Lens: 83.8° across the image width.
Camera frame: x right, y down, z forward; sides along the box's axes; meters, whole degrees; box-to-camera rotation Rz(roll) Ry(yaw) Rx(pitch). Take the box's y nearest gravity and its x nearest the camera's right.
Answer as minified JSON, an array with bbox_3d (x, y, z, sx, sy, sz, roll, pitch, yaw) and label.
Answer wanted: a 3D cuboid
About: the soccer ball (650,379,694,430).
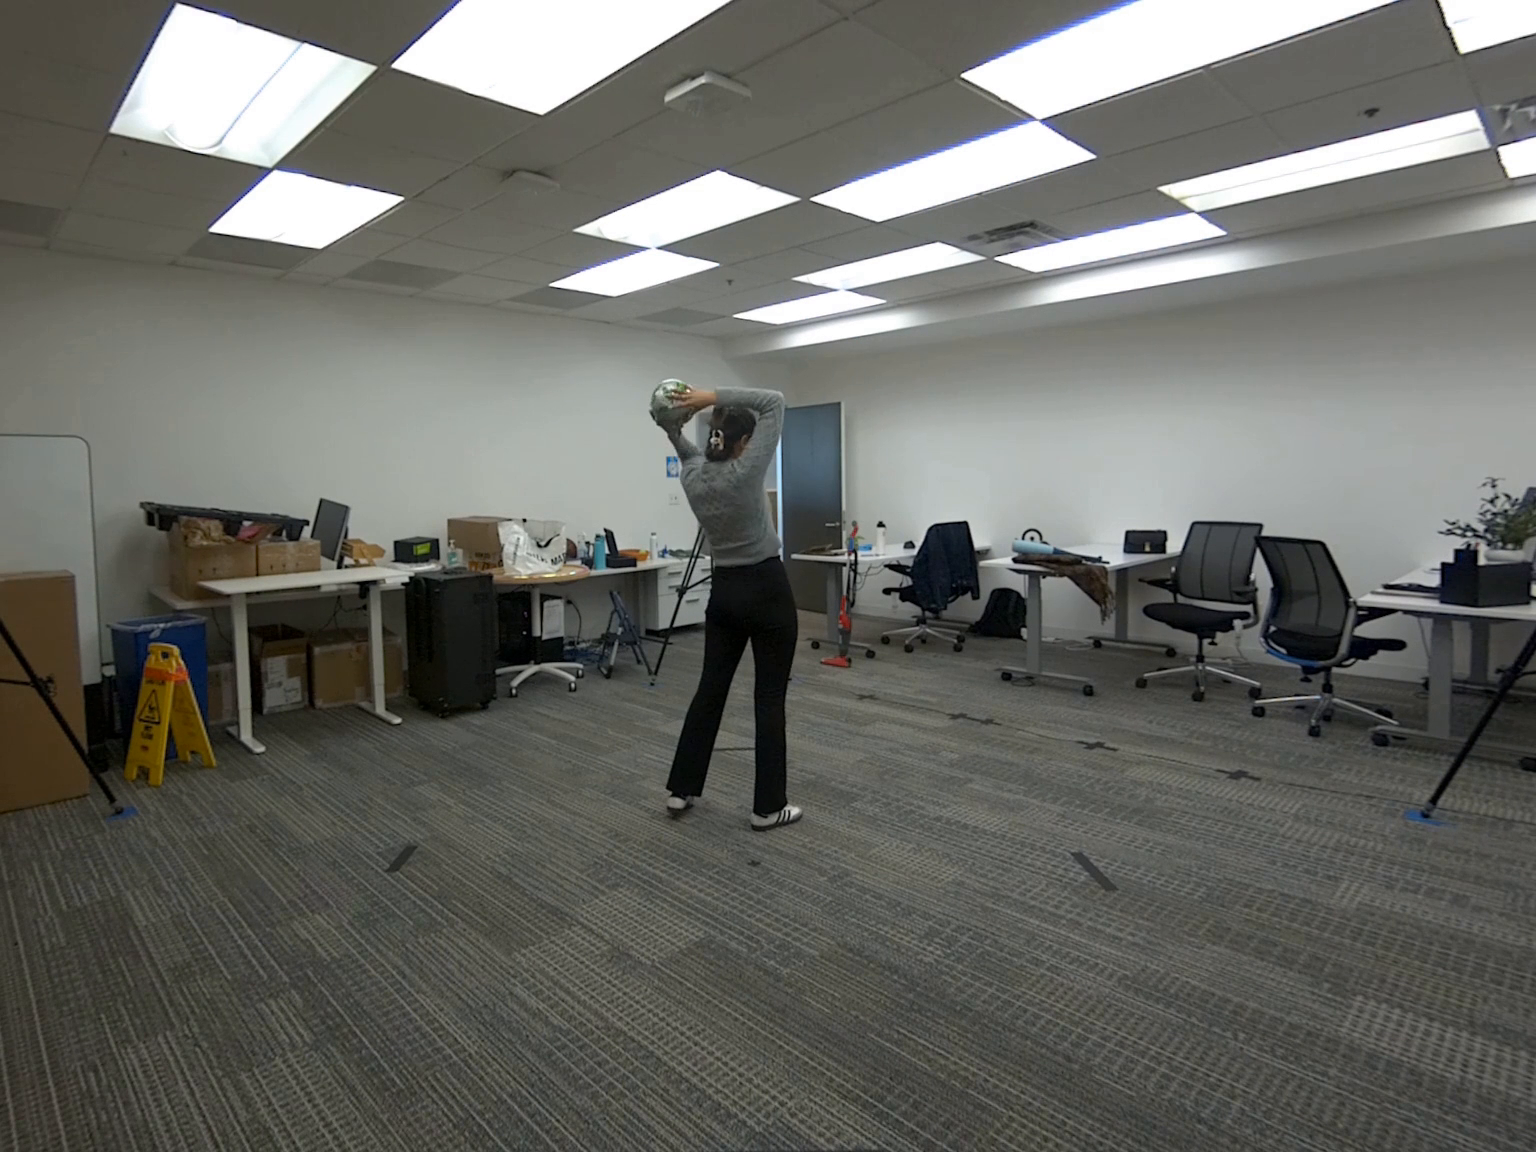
[{"bbox_3d":[-0.371,-0.687,3.439,0.187,0.187,0.188,-1,5,-2],"label":"soccer ball"}]
